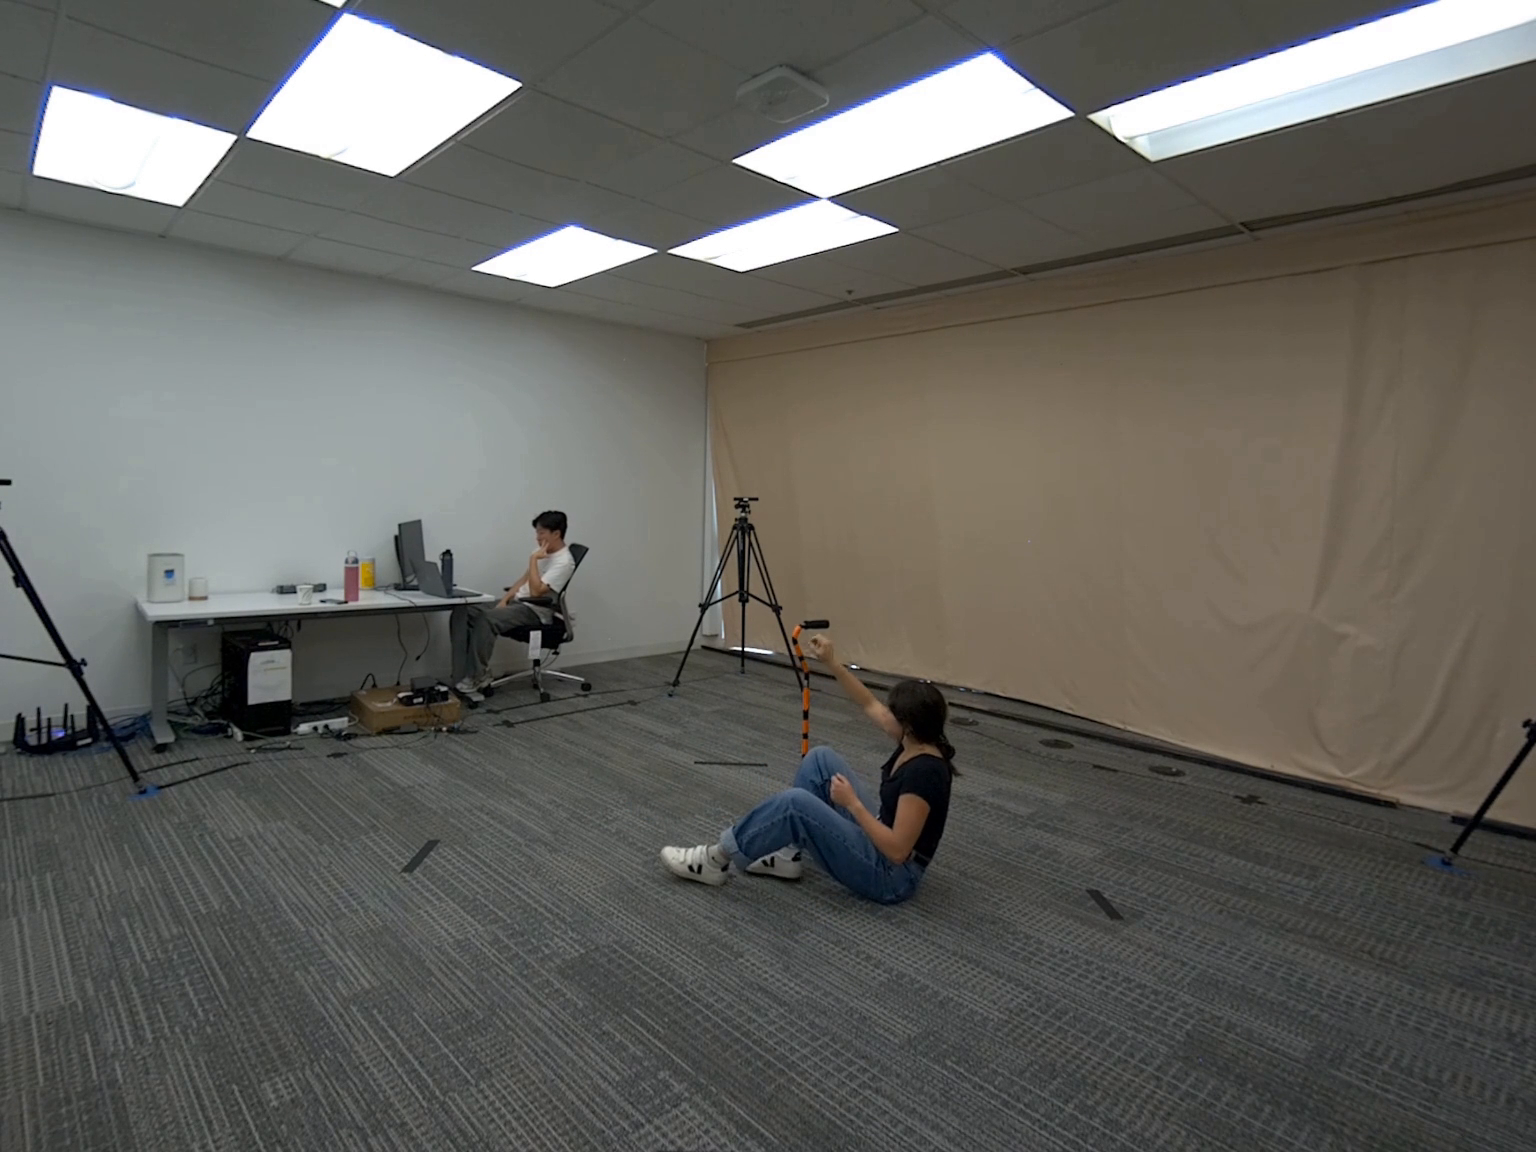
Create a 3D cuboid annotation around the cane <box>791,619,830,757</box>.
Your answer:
[{"bbox_3d":[0.136,0.634,3.391,0.202,0.906,0.155,0,3,-30],"label":"cane"}]
